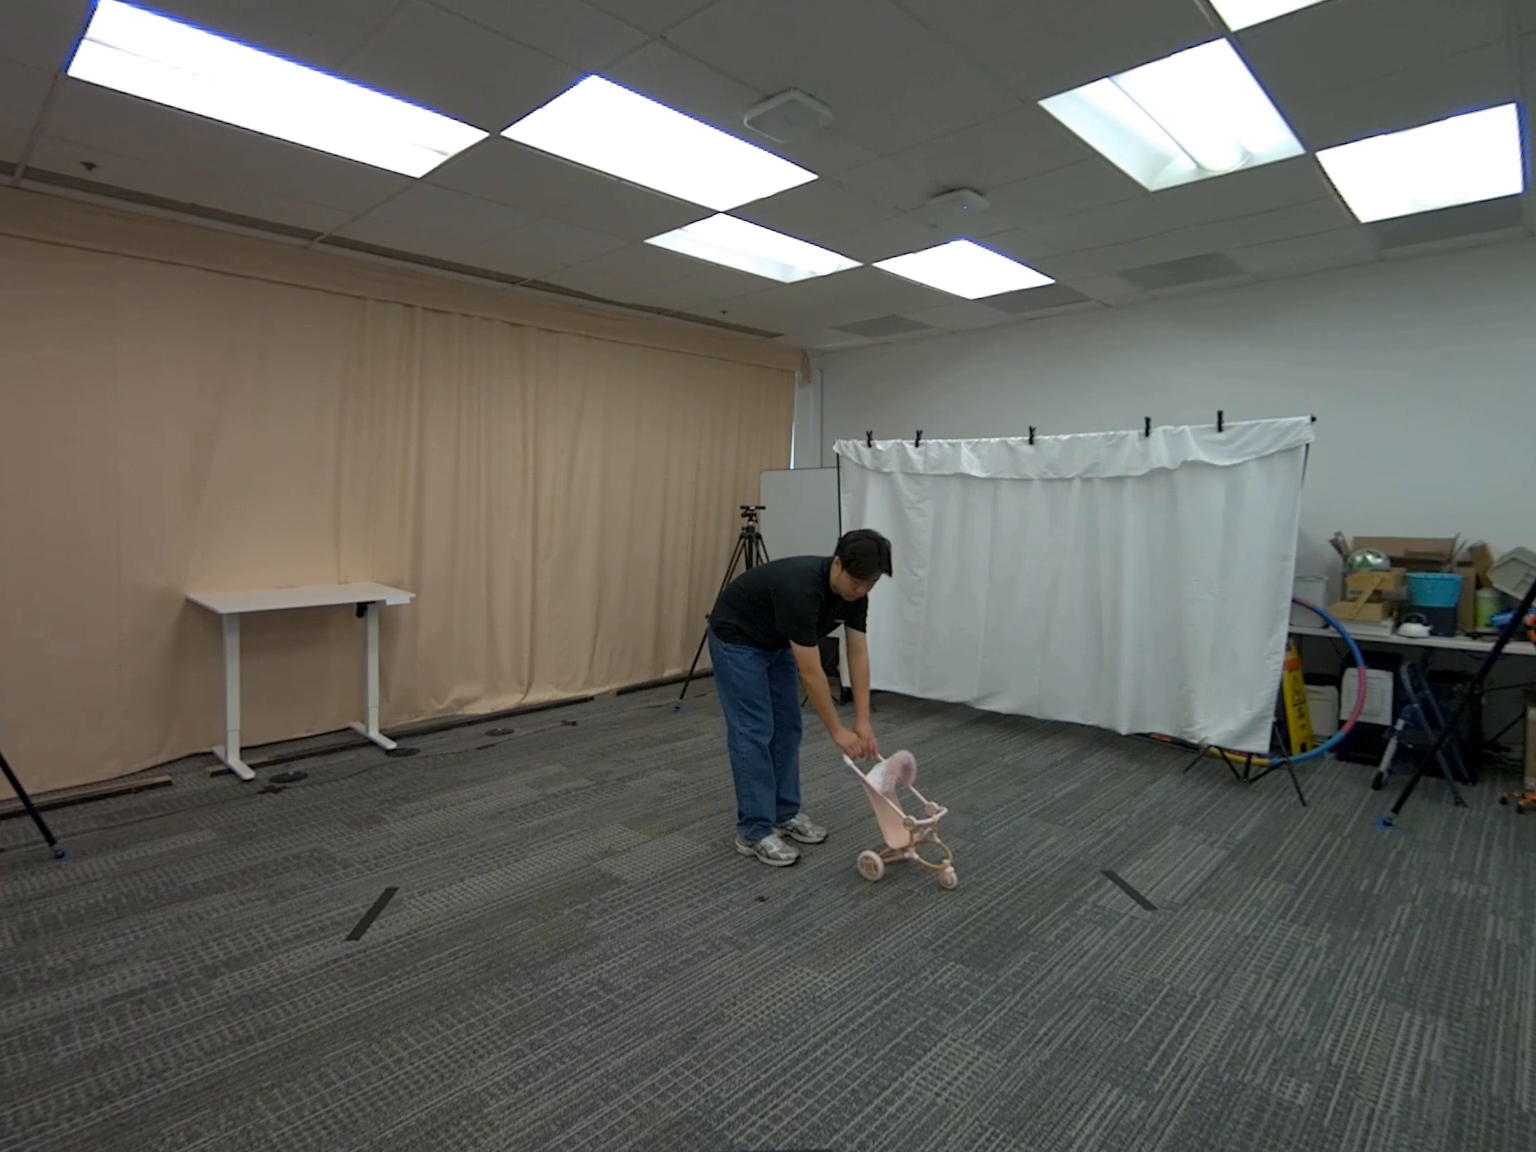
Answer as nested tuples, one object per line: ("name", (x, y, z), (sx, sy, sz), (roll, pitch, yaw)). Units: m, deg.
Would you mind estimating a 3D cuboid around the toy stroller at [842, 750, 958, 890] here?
("toy stroller", (0.511, 0.898, 3.164), (0.350, 0.538, 0.273), (-16, -8, 42))
